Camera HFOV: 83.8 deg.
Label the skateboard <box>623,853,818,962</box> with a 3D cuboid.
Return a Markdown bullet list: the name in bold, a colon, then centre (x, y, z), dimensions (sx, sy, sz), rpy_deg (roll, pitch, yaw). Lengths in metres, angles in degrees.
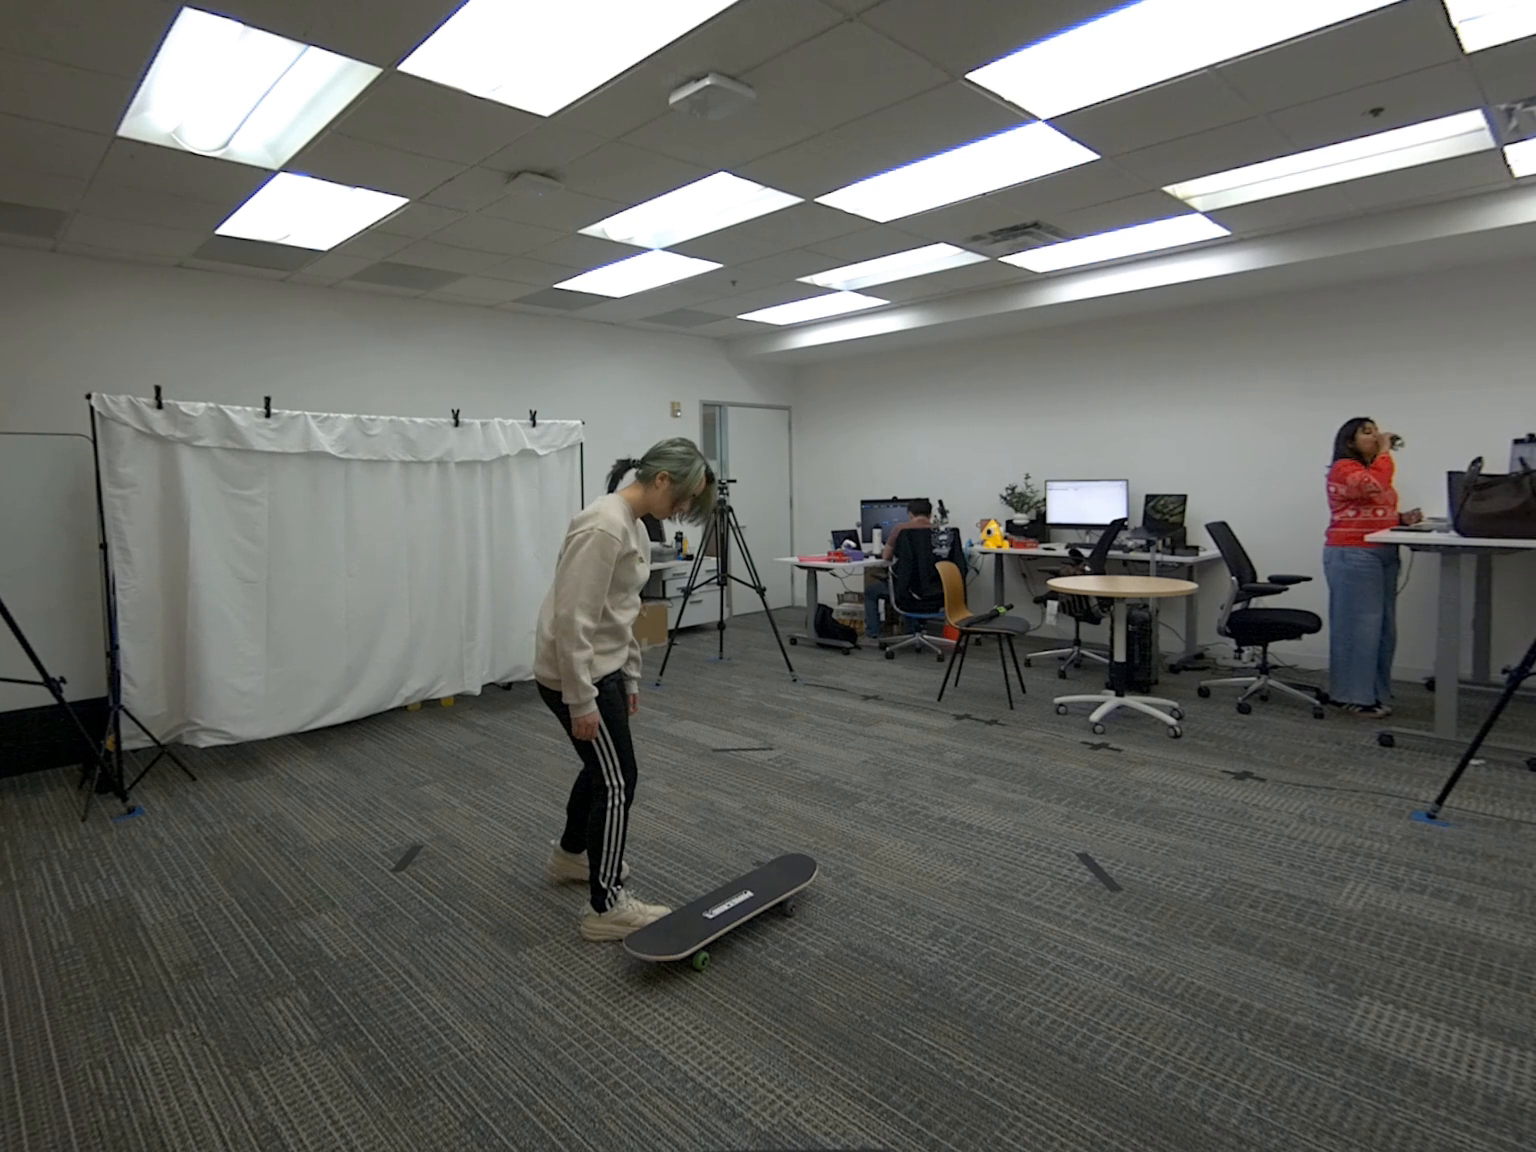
- **skateboard**: centre (-0.119, 1.044, 2.645), dimensions (0.199, 0.110, 0.765), rpy_deg (4, 8, 42)
